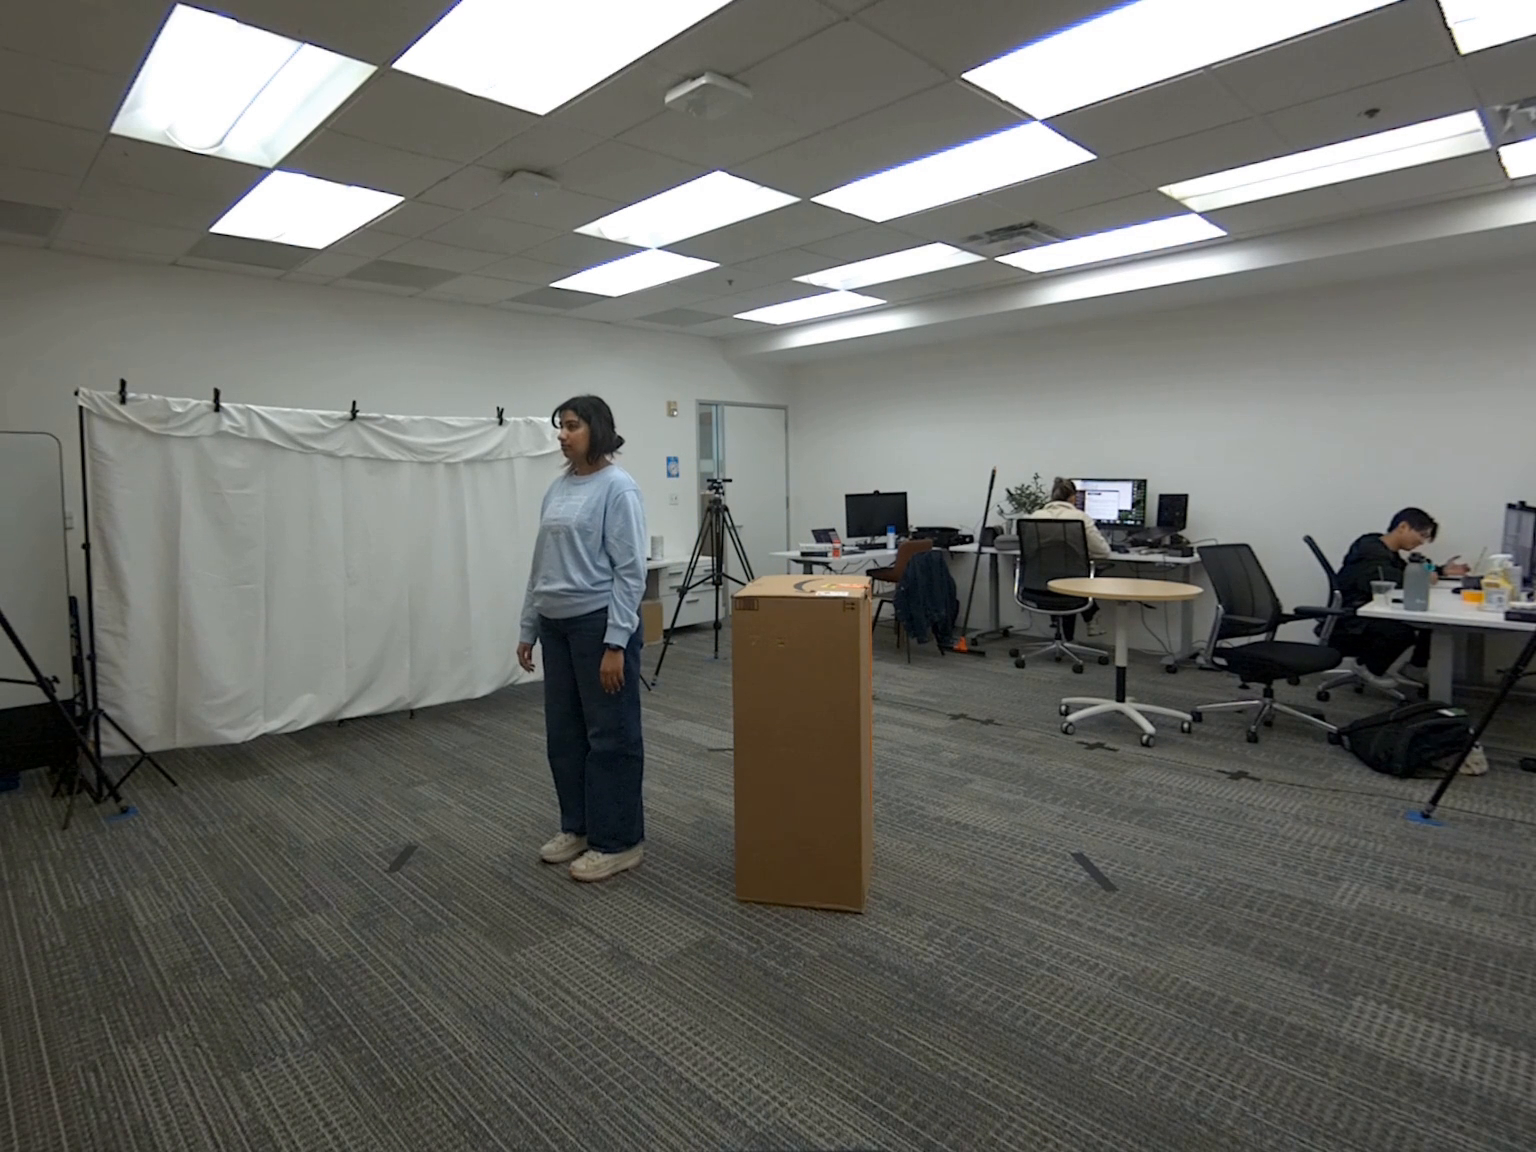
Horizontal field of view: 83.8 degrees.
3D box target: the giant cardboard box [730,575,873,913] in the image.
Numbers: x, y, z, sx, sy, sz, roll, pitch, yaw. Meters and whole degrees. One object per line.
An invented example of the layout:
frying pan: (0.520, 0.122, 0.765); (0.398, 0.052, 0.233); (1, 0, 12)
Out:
giant cardboard box: (0.141, 0.541, 3.023); (0.431, 1.022, 0.573); (0, 4, 11)
